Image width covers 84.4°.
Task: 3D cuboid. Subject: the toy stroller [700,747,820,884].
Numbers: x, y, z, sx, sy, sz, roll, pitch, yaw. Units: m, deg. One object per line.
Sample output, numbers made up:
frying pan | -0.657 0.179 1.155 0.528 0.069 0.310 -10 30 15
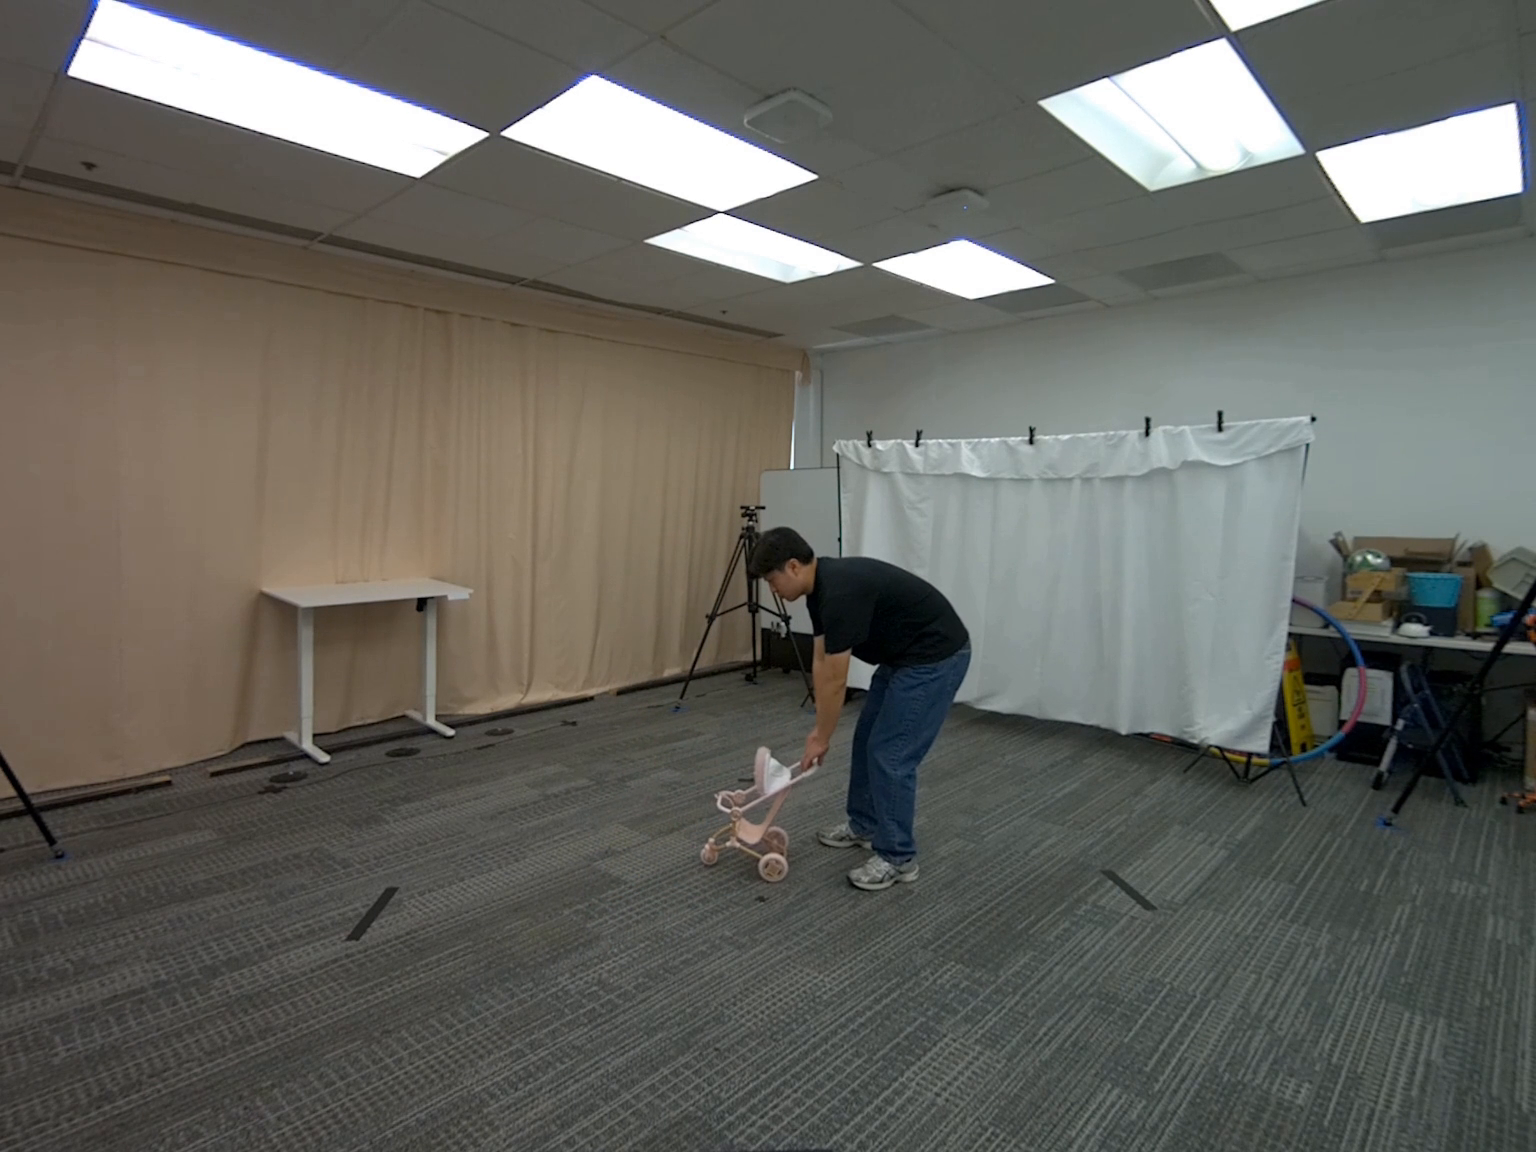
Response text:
toy stroller | -0.040 0.901 3.241 0.345 0.534 0.279 17 5 8
